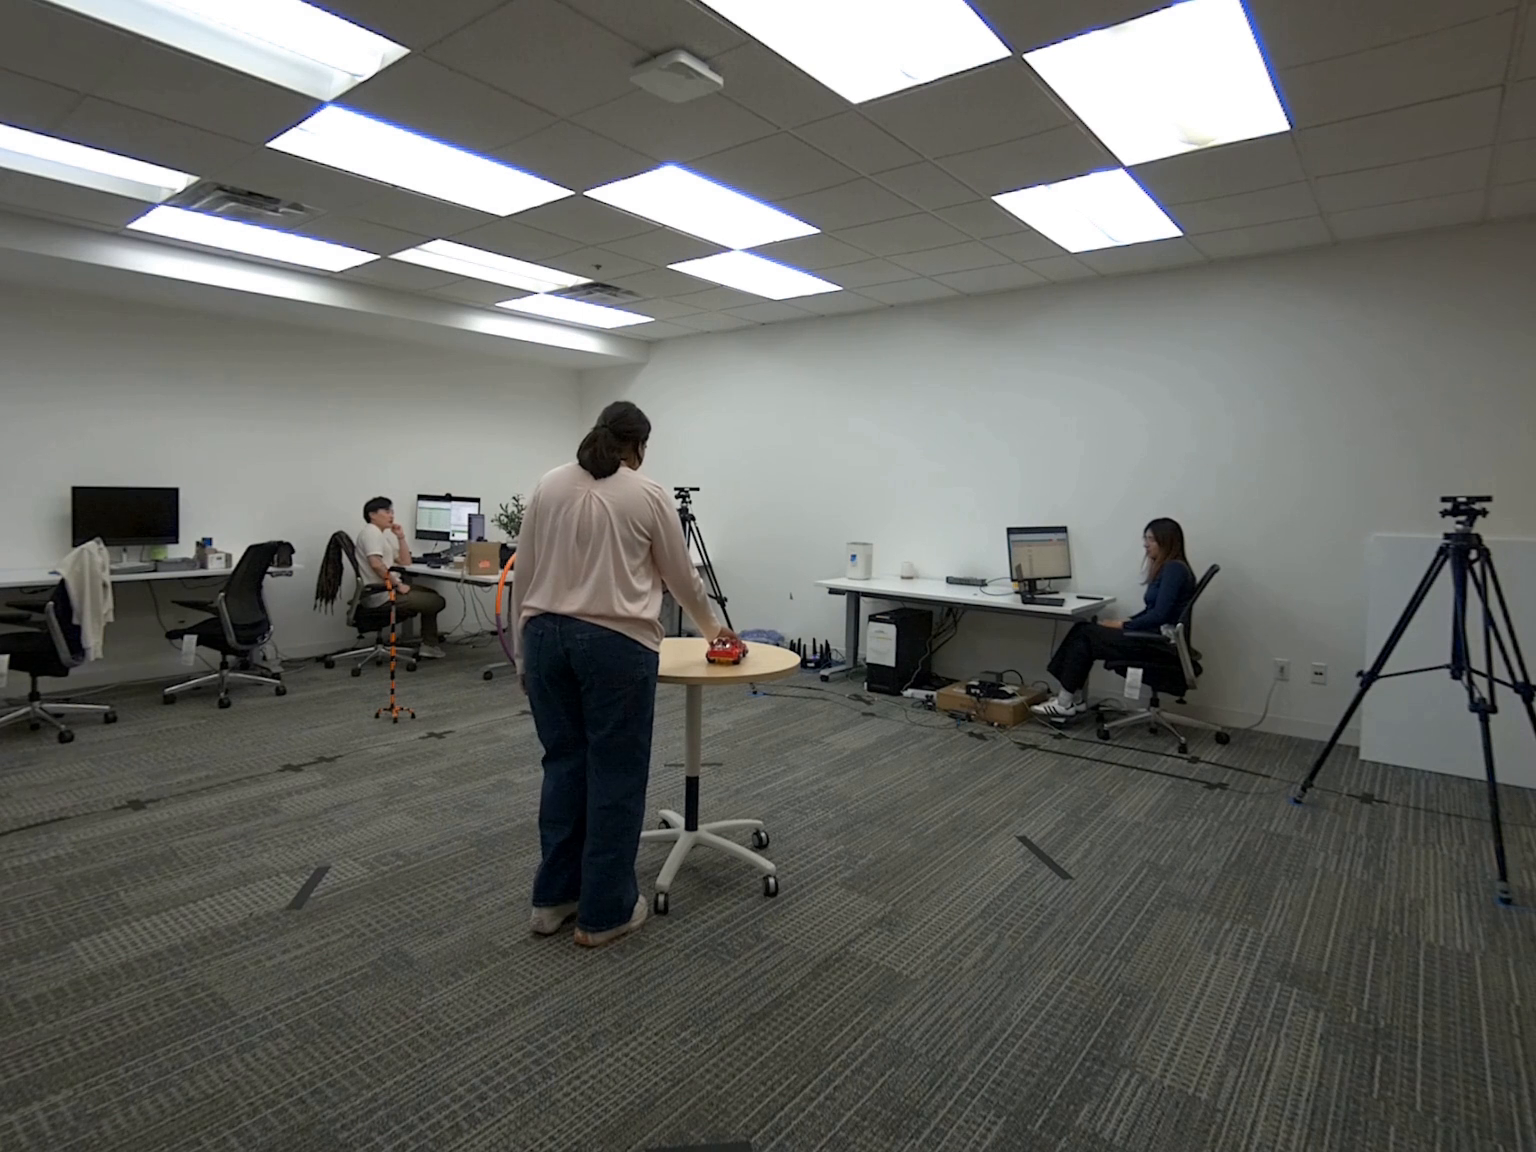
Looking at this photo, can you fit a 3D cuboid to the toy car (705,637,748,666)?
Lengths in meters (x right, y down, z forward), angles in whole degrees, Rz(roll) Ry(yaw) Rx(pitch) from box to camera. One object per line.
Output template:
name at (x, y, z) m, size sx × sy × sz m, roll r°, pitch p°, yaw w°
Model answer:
toy car at (-0.159, 0.264, 2.995) m, size 0.131 × 0.084 × 0.250 m, roll 4°, pitch -6°, yaw 6°
